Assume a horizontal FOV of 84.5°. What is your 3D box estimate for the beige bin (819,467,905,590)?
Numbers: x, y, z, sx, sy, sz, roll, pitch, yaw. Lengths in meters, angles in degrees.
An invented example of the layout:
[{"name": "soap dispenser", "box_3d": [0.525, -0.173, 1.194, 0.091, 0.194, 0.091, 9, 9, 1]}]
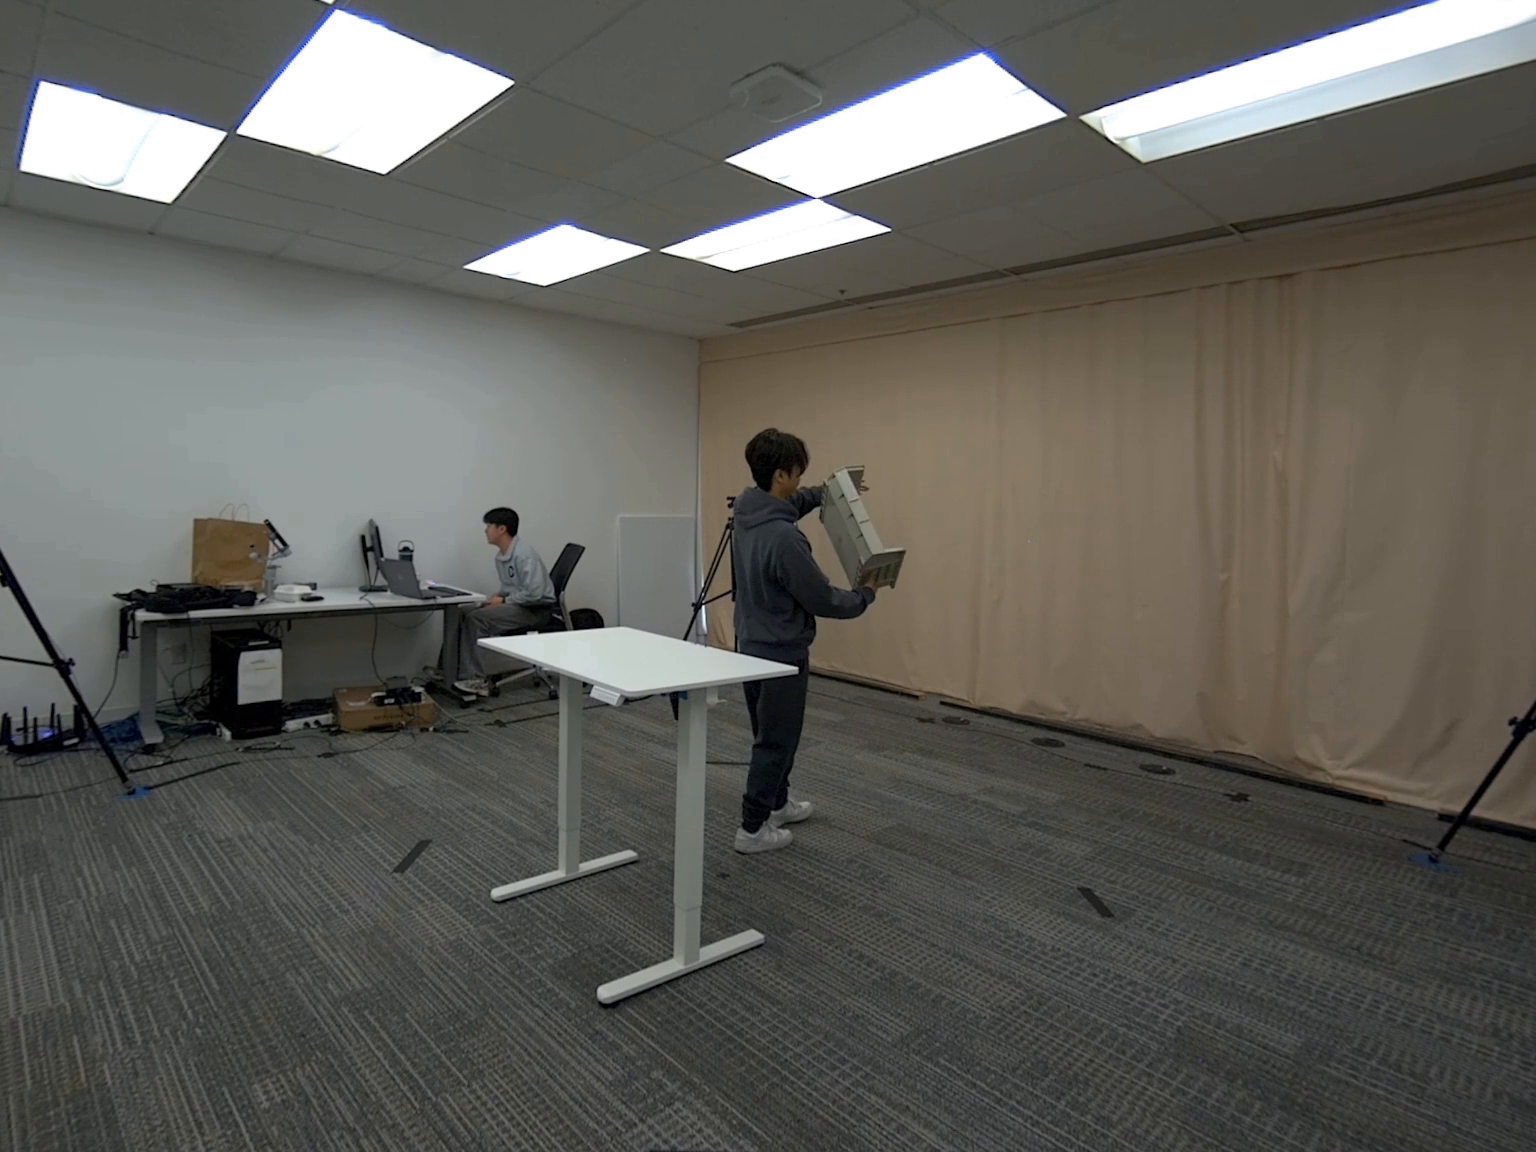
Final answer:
[{"name": "beige bin", "box_3d": [0.373, -0.186, 3.465, 0.188, 0.432, 0.371, -16, -26, -11]}]
